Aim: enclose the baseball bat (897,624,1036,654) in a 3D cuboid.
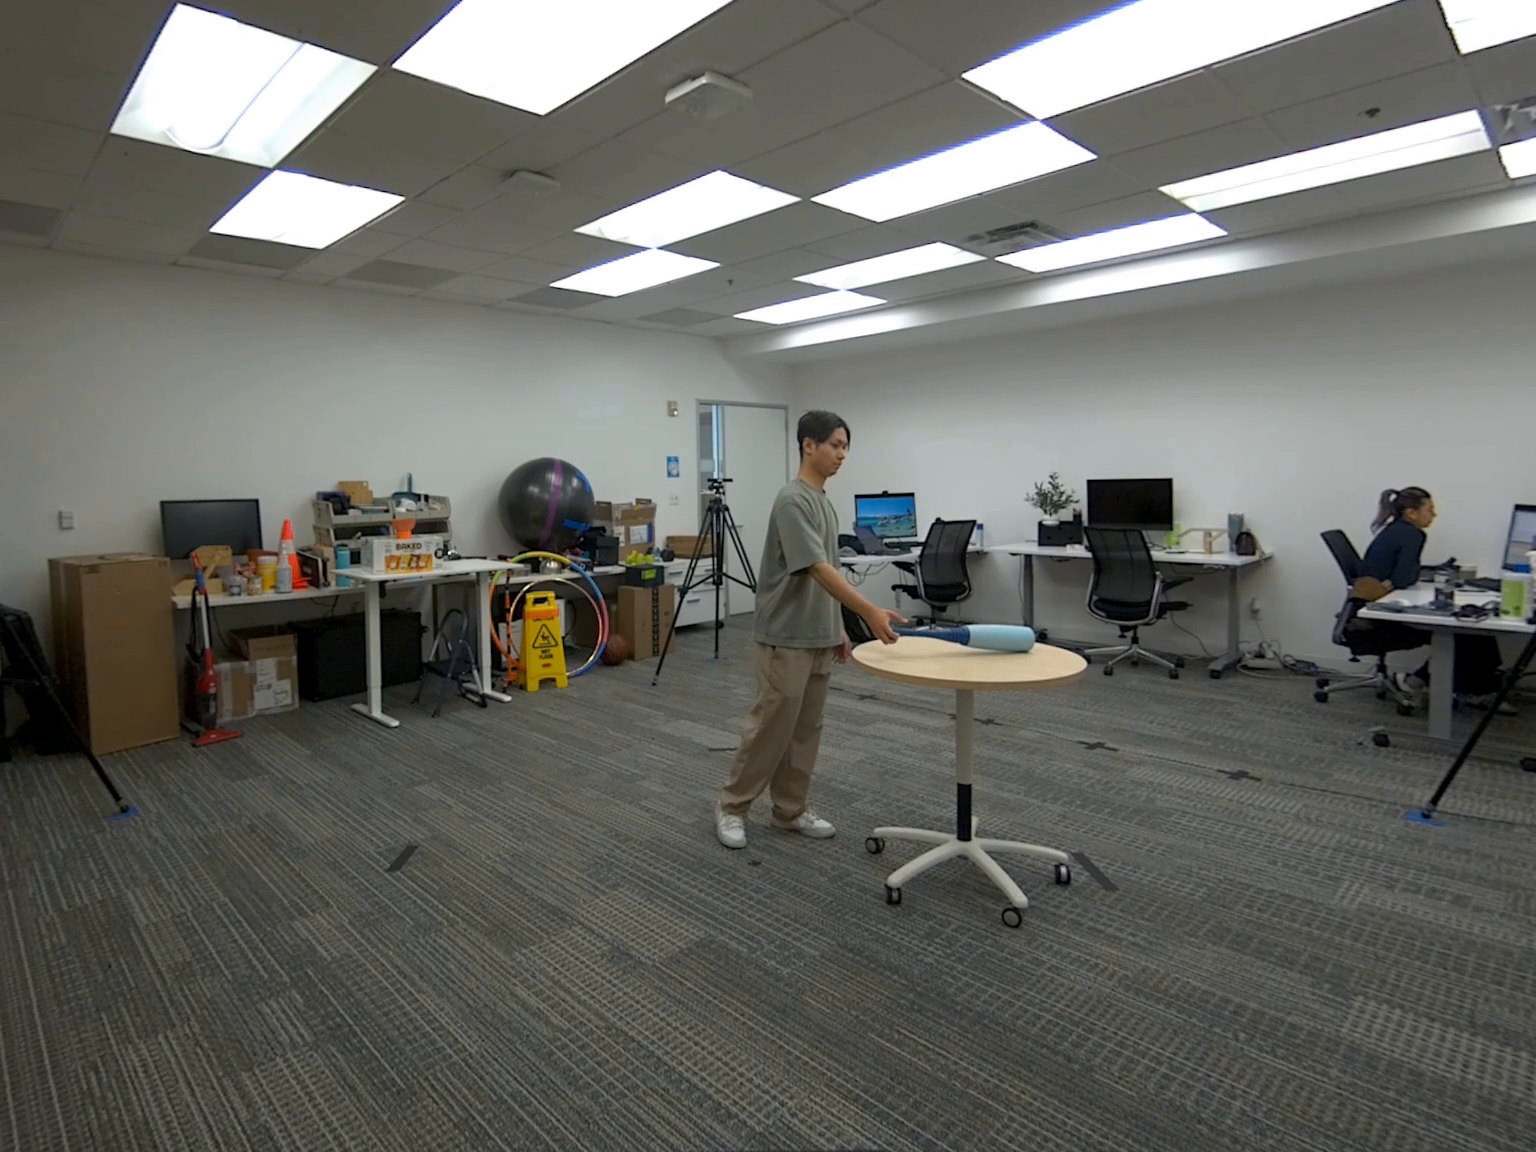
[{"bbox_3d":[0.666,0.205,2.916,0.535,0.089,0.090,4,3,-14],"label":"baseball bat"}]
